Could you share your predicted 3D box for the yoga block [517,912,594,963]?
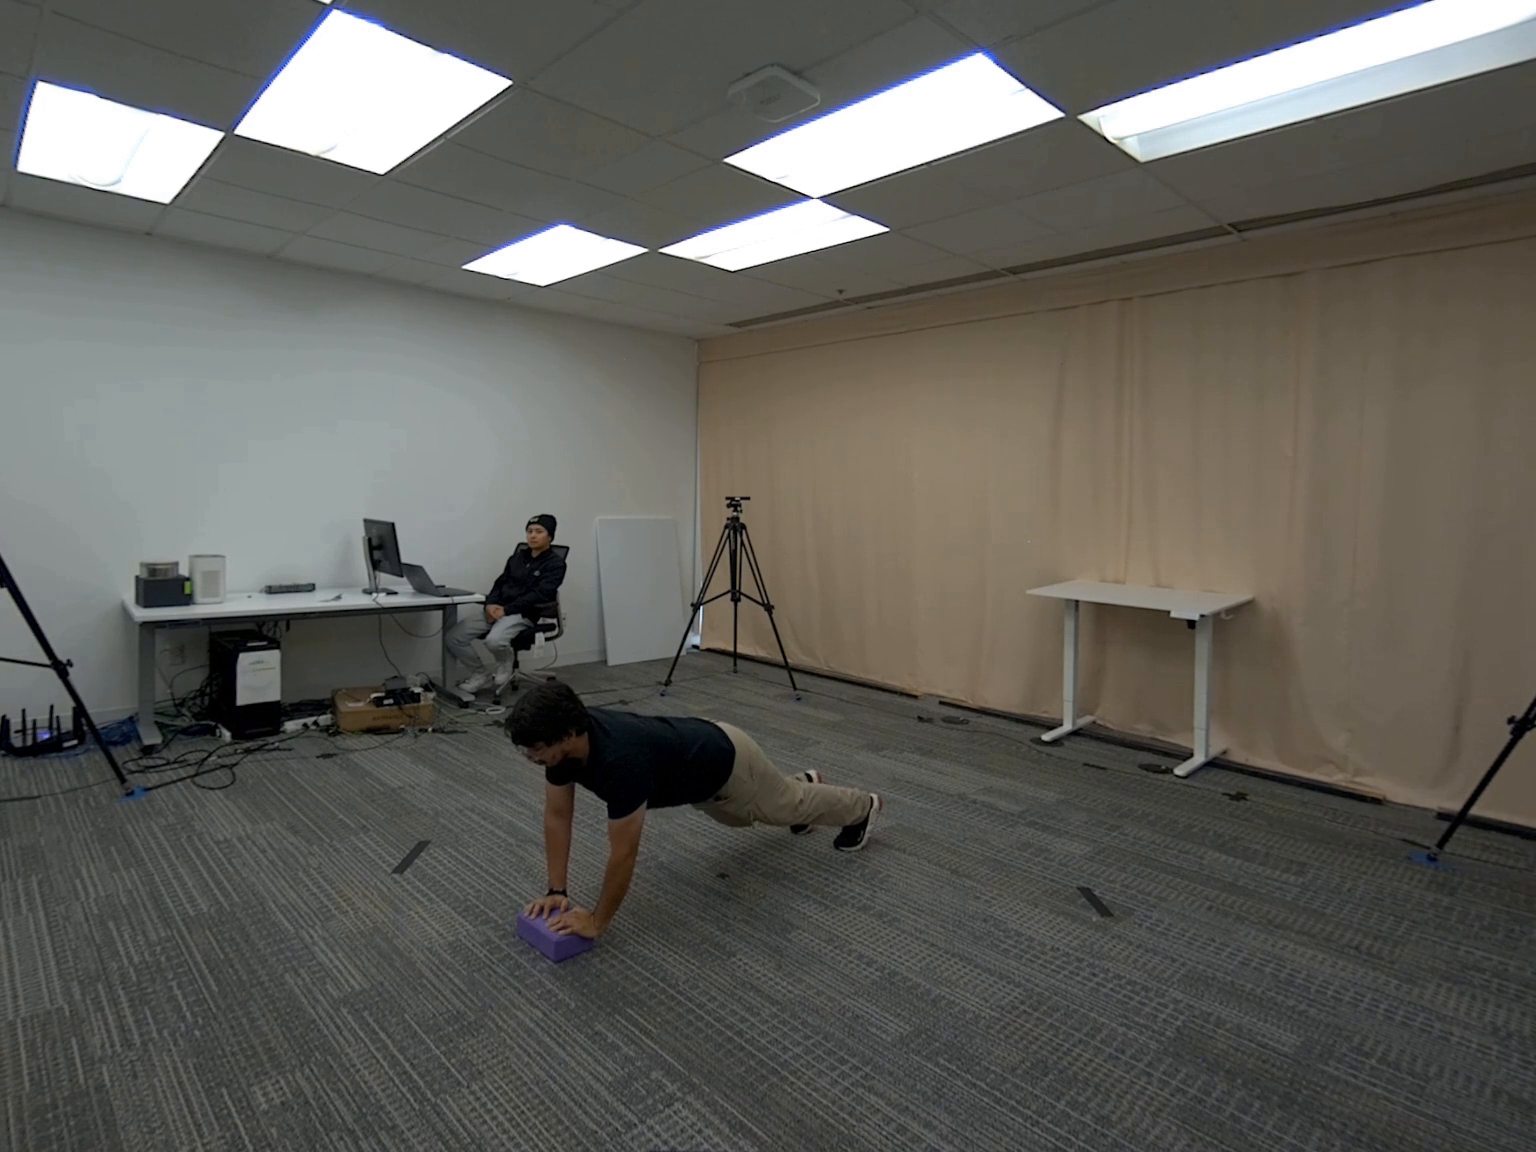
[{"bbox_3d":[-0.670,1.106,2.620,0.235,0.076,0.146,6,7,43],"label":"yoga block"}]
